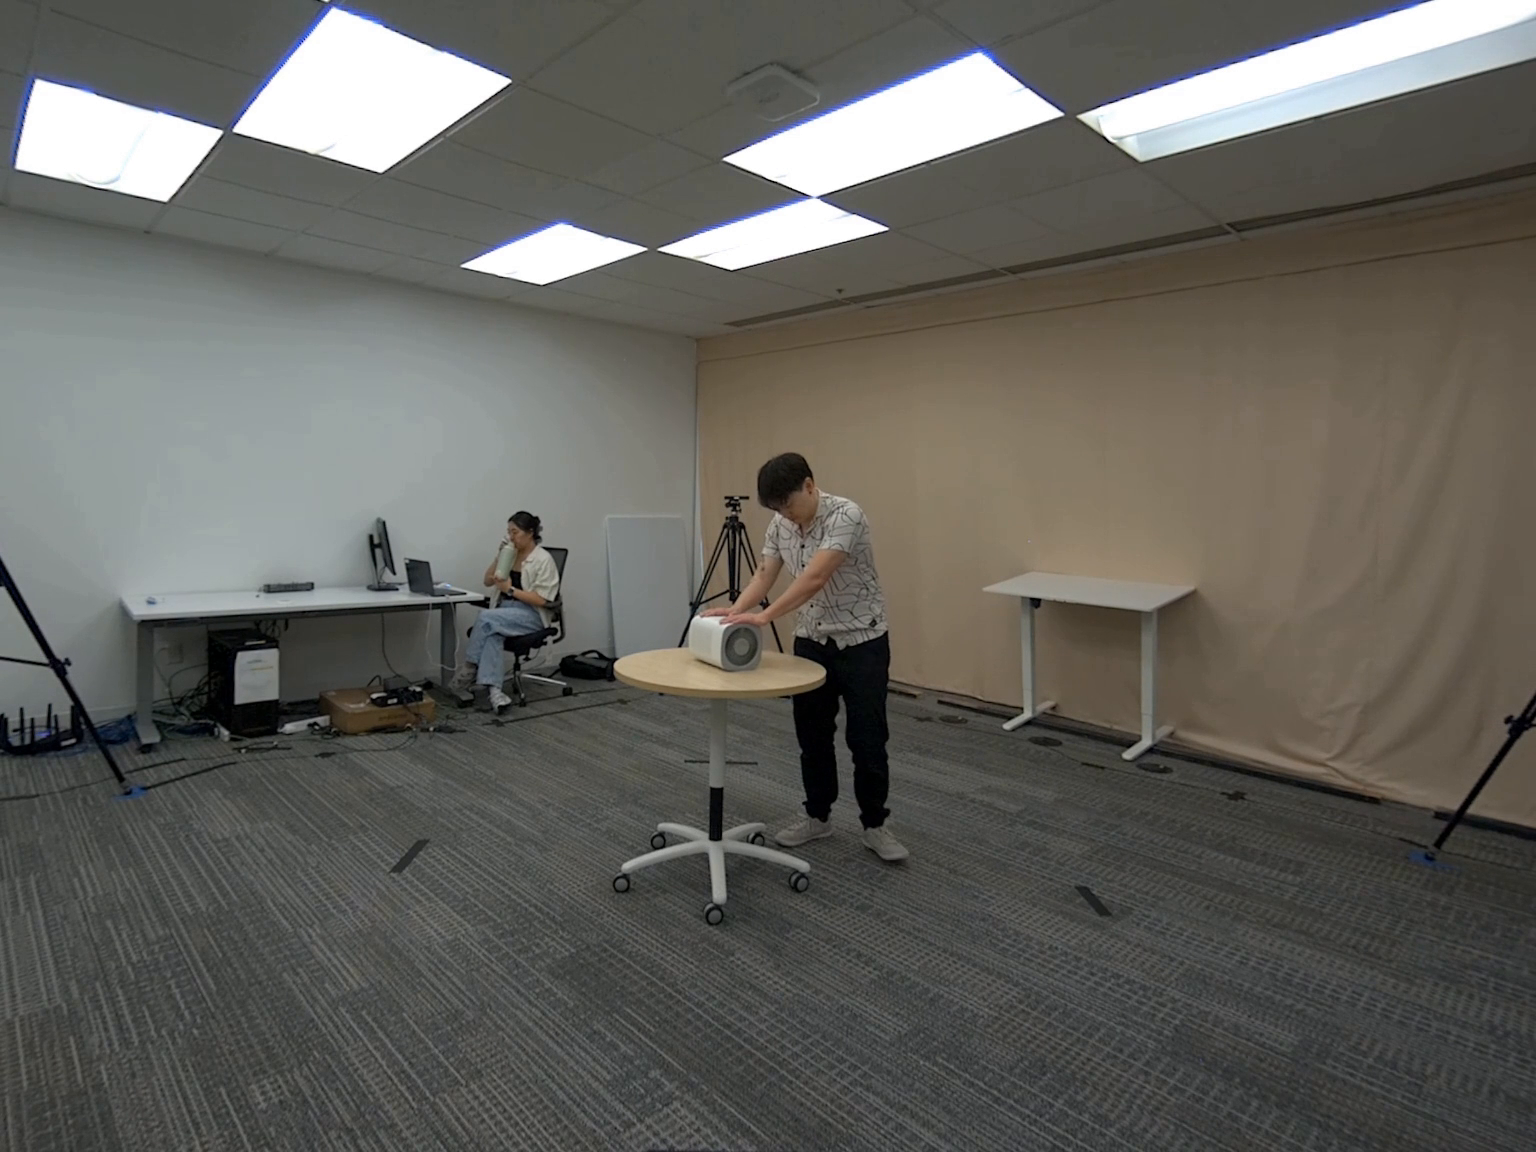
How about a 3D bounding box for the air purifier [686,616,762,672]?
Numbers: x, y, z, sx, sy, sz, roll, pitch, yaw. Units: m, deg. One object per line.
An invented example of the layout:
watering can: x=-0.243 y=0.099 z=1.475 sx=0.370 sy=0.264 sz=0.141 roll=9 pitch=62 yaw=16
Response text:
air purifier: x=-0.170 y=0.234 z=3.086 sx=0.167 sy=0.171 sz=0.272 roll=3 pitch=3 yaw=-32
